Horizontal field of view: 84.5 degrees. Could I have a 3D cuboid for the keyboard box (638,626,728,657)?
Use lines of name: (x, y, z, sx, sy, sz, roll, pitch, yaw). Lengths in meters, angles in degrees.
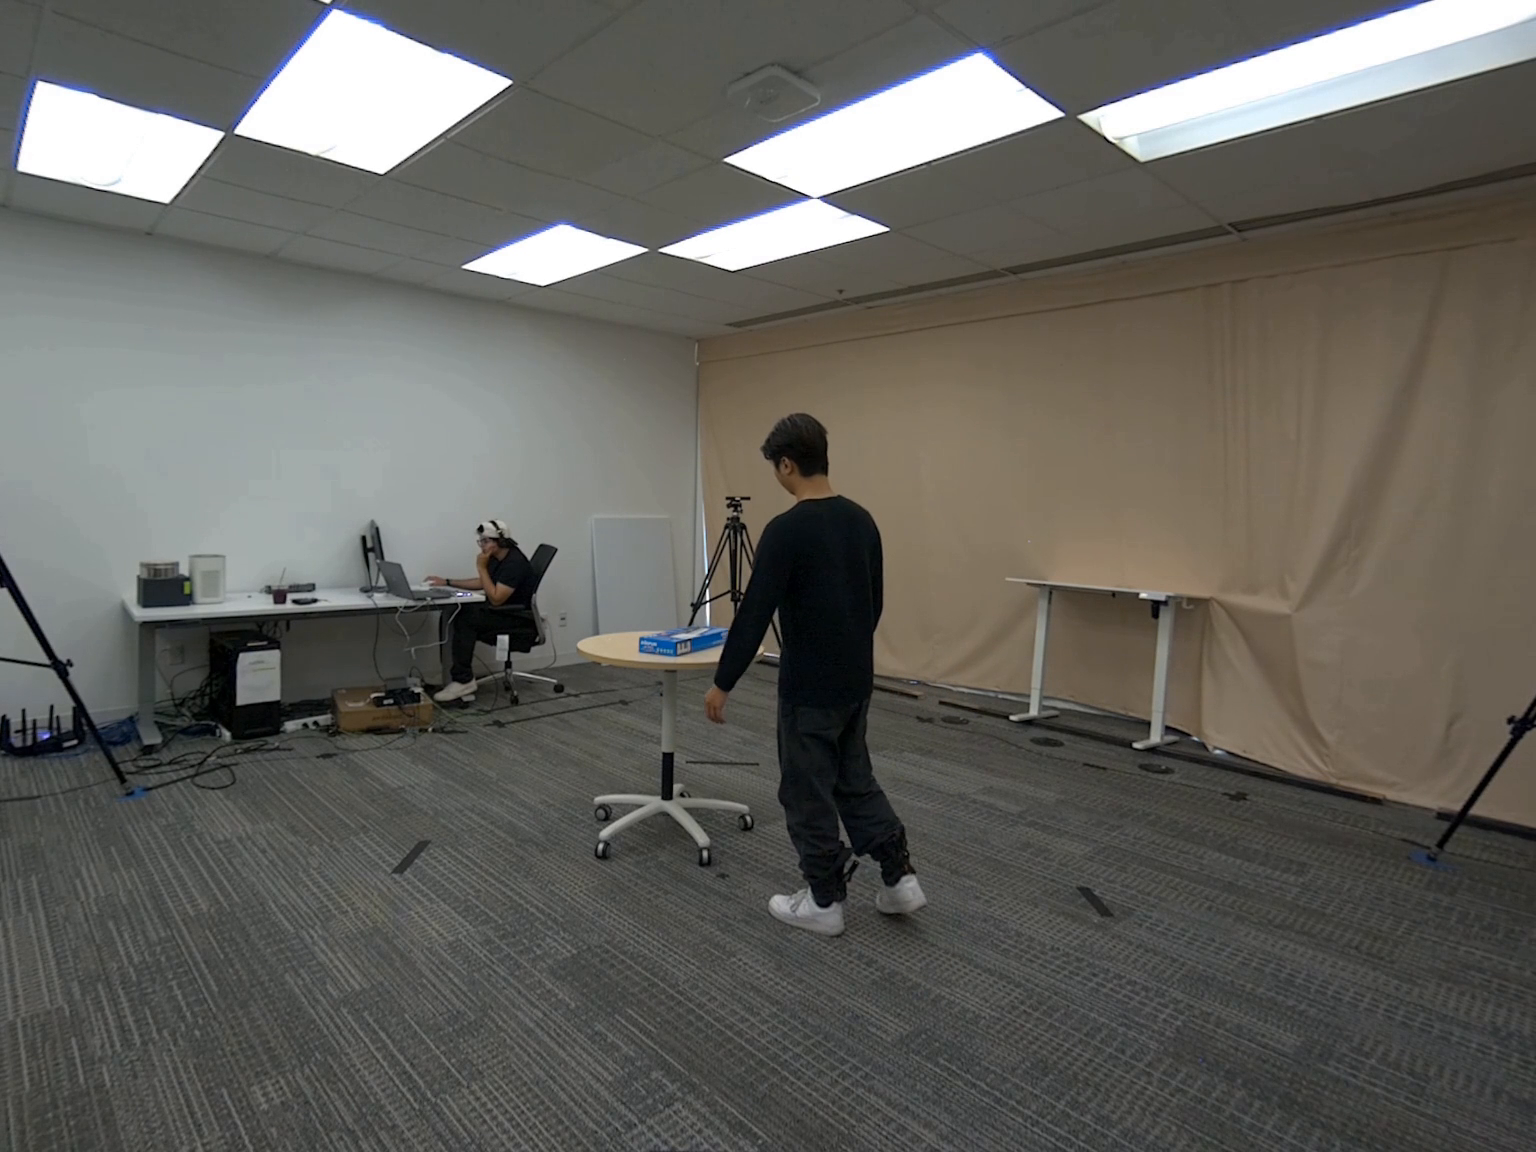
keyboard box: (-0.335, 0.260, 3.428, 0.179, 0.059, 0.429, 4, 5, 26)
